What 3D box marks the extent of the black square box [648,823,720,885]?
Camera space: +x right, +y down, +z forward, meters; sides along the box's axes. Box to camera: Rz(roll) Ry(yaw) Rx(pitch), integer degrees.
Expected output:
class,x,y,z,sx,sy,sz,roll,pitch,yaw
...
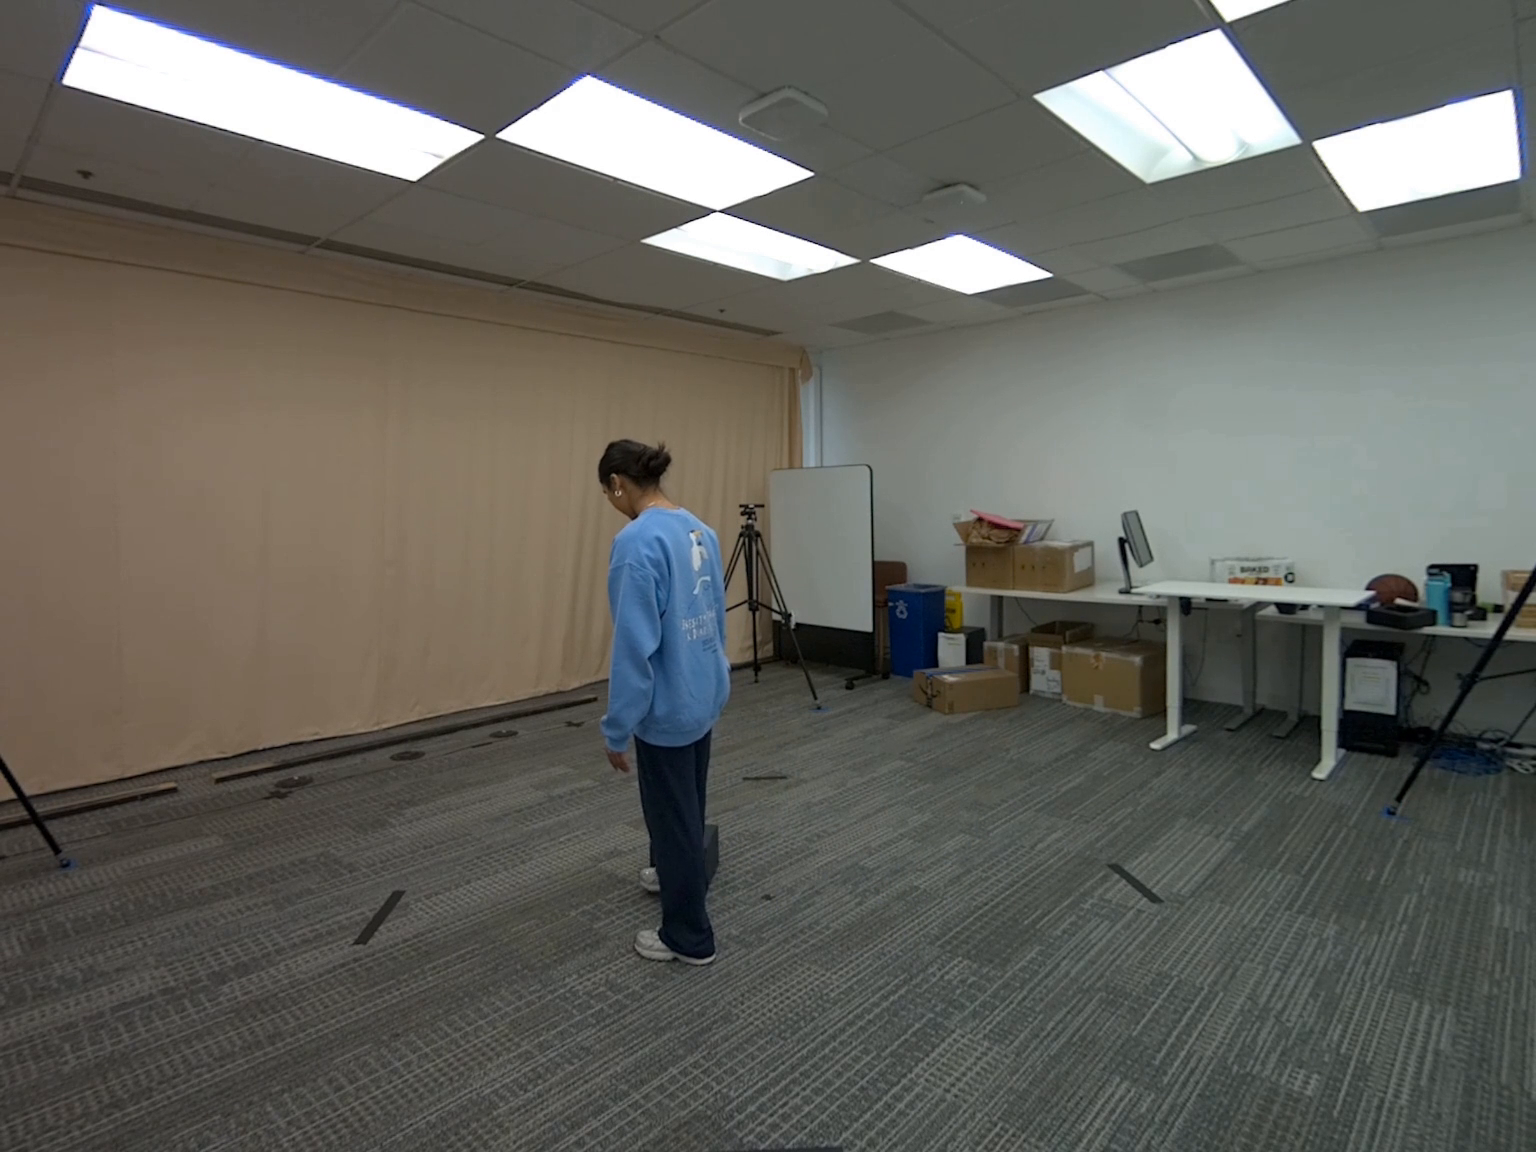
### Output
class,x,y,z,sx,sy,sz,roll,pitch,yaw
black square box,-0.311,1.044,3.169,0.219,0.155,0.226,-1,4,9
